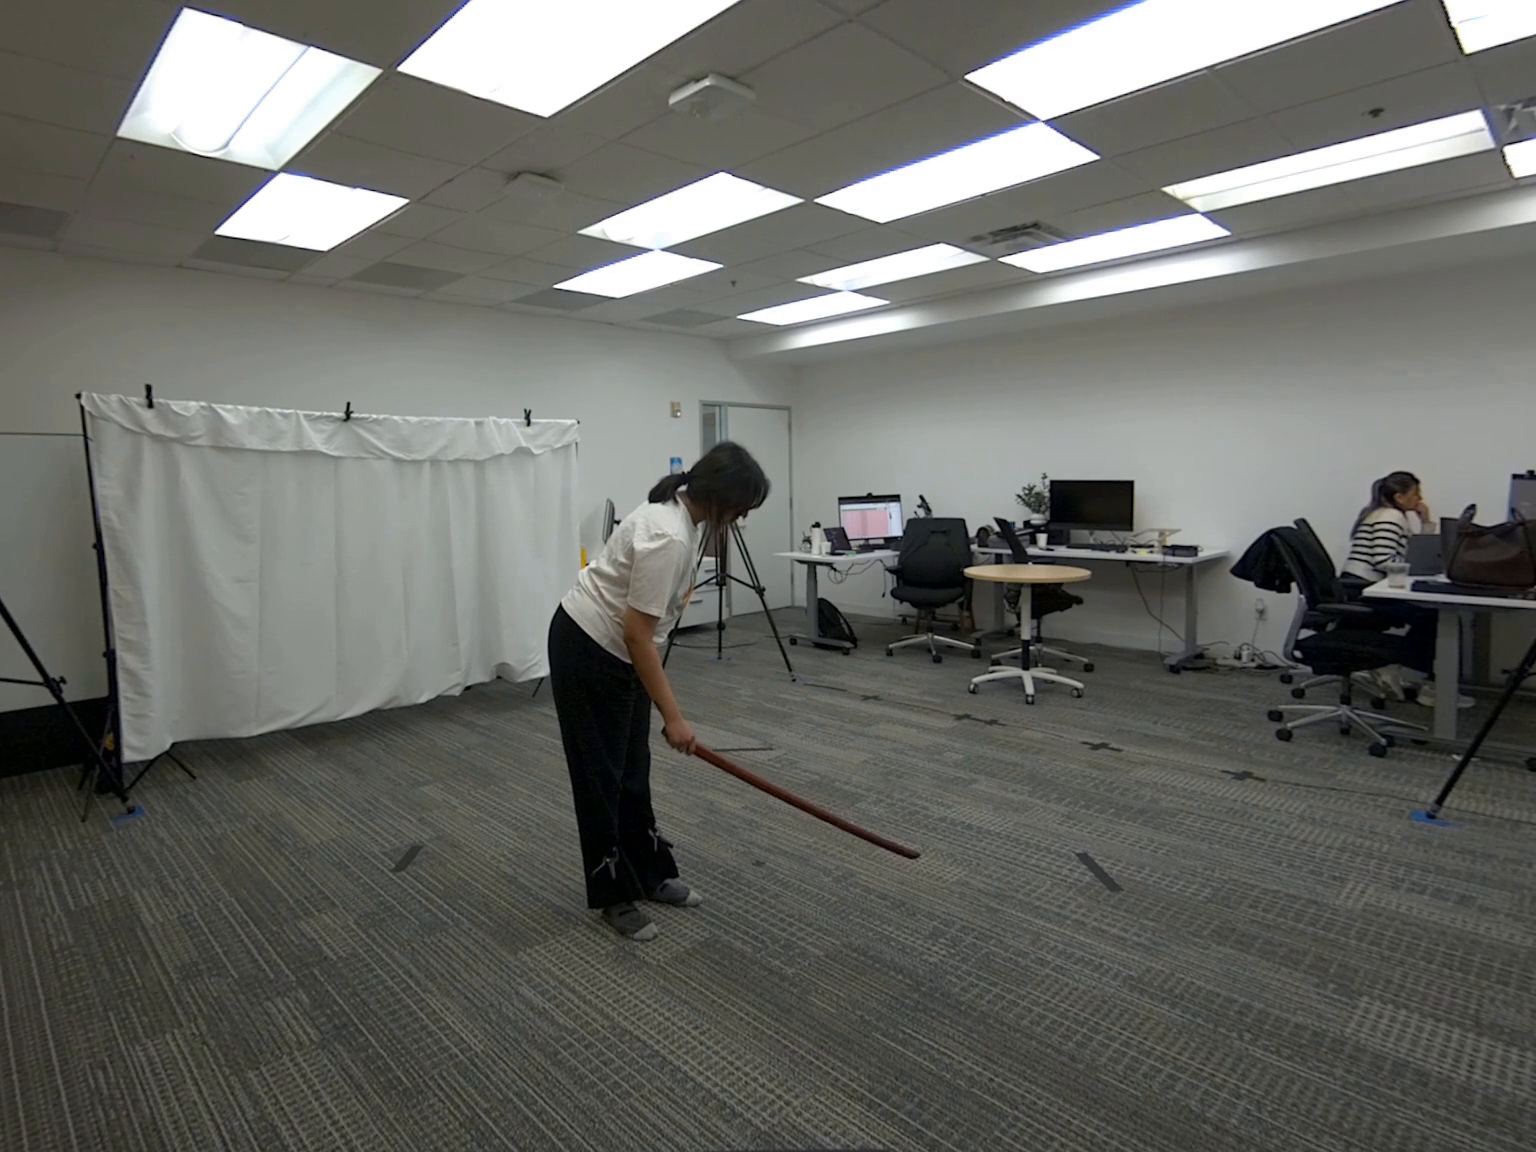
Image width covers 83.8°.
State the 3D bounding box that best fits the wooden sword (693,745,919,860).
[{"bbox_3d":[0.094,0.705,2.740,1.002,0.051,0.024,31,9,-17],"label":"wooden sword"}]
